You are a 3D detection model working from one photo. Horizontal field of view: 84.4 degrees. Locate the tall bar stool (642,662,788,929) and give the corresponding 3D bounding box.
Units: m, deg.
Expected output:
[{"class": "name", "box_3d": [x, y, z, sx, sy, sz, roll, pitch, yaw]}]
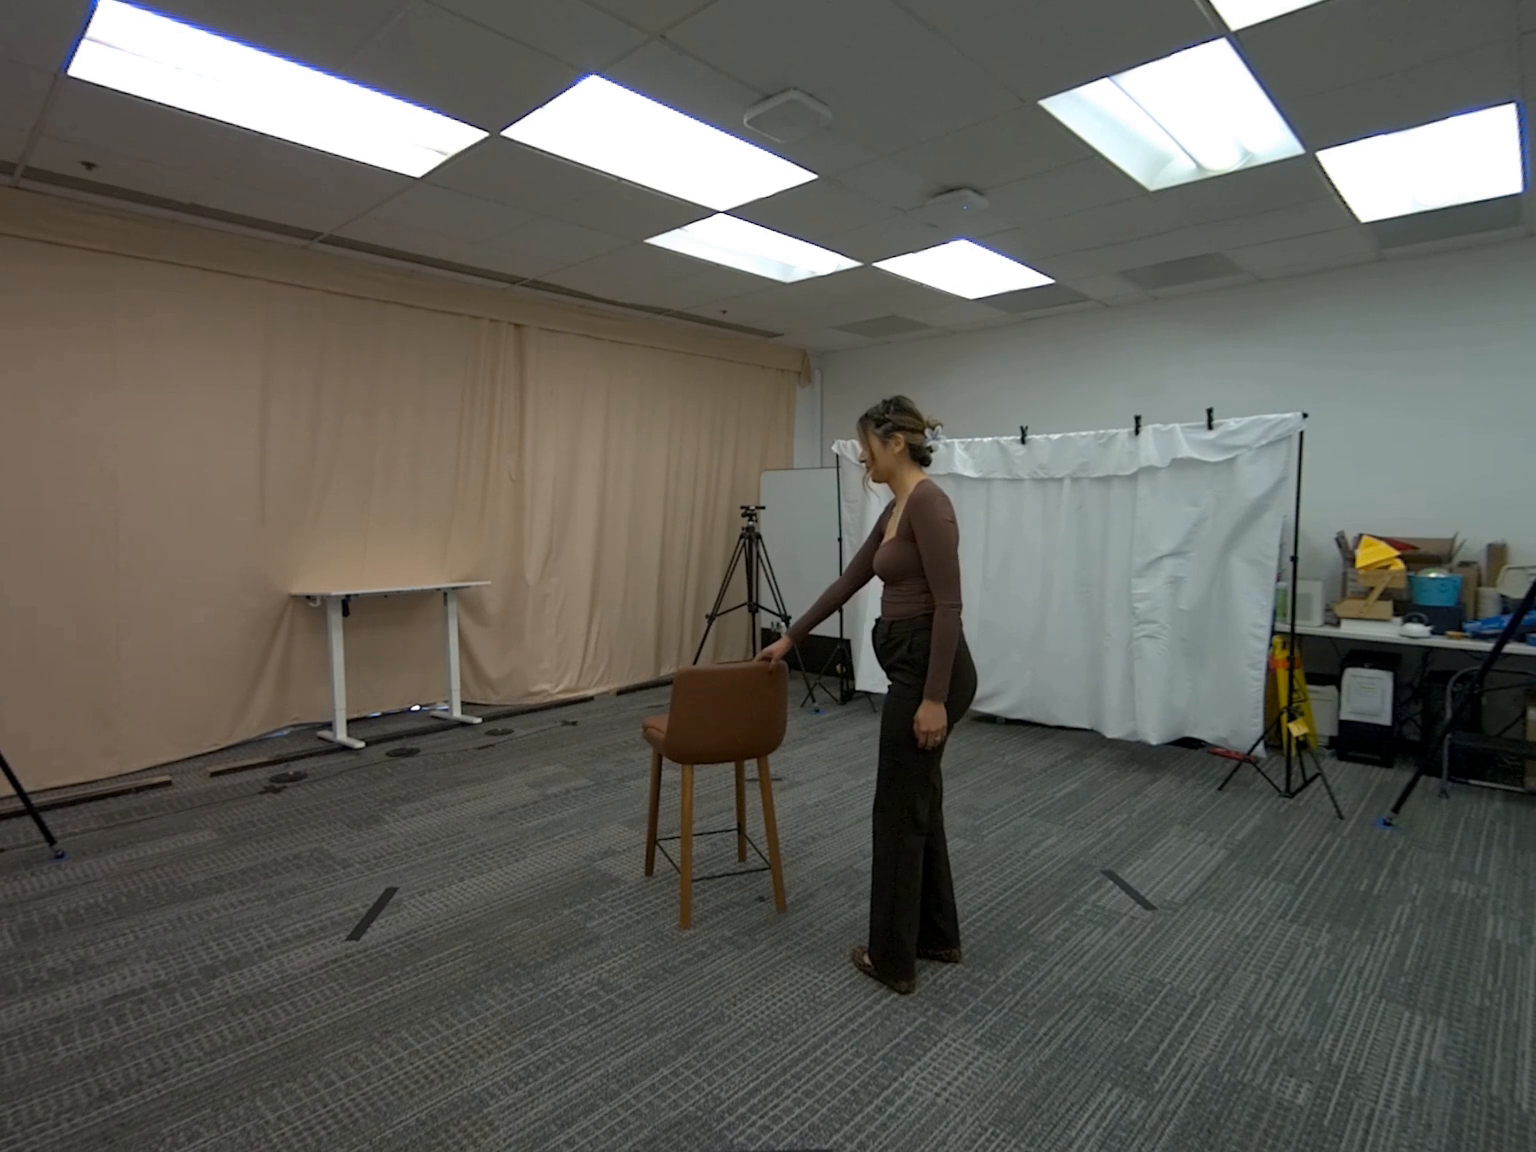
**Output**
[{"class": "tall bar stool", "box_3d": [-0.194, 0.707, 3.013, 0.447, 0.887, 0.479, -1, 5, -21]}]
